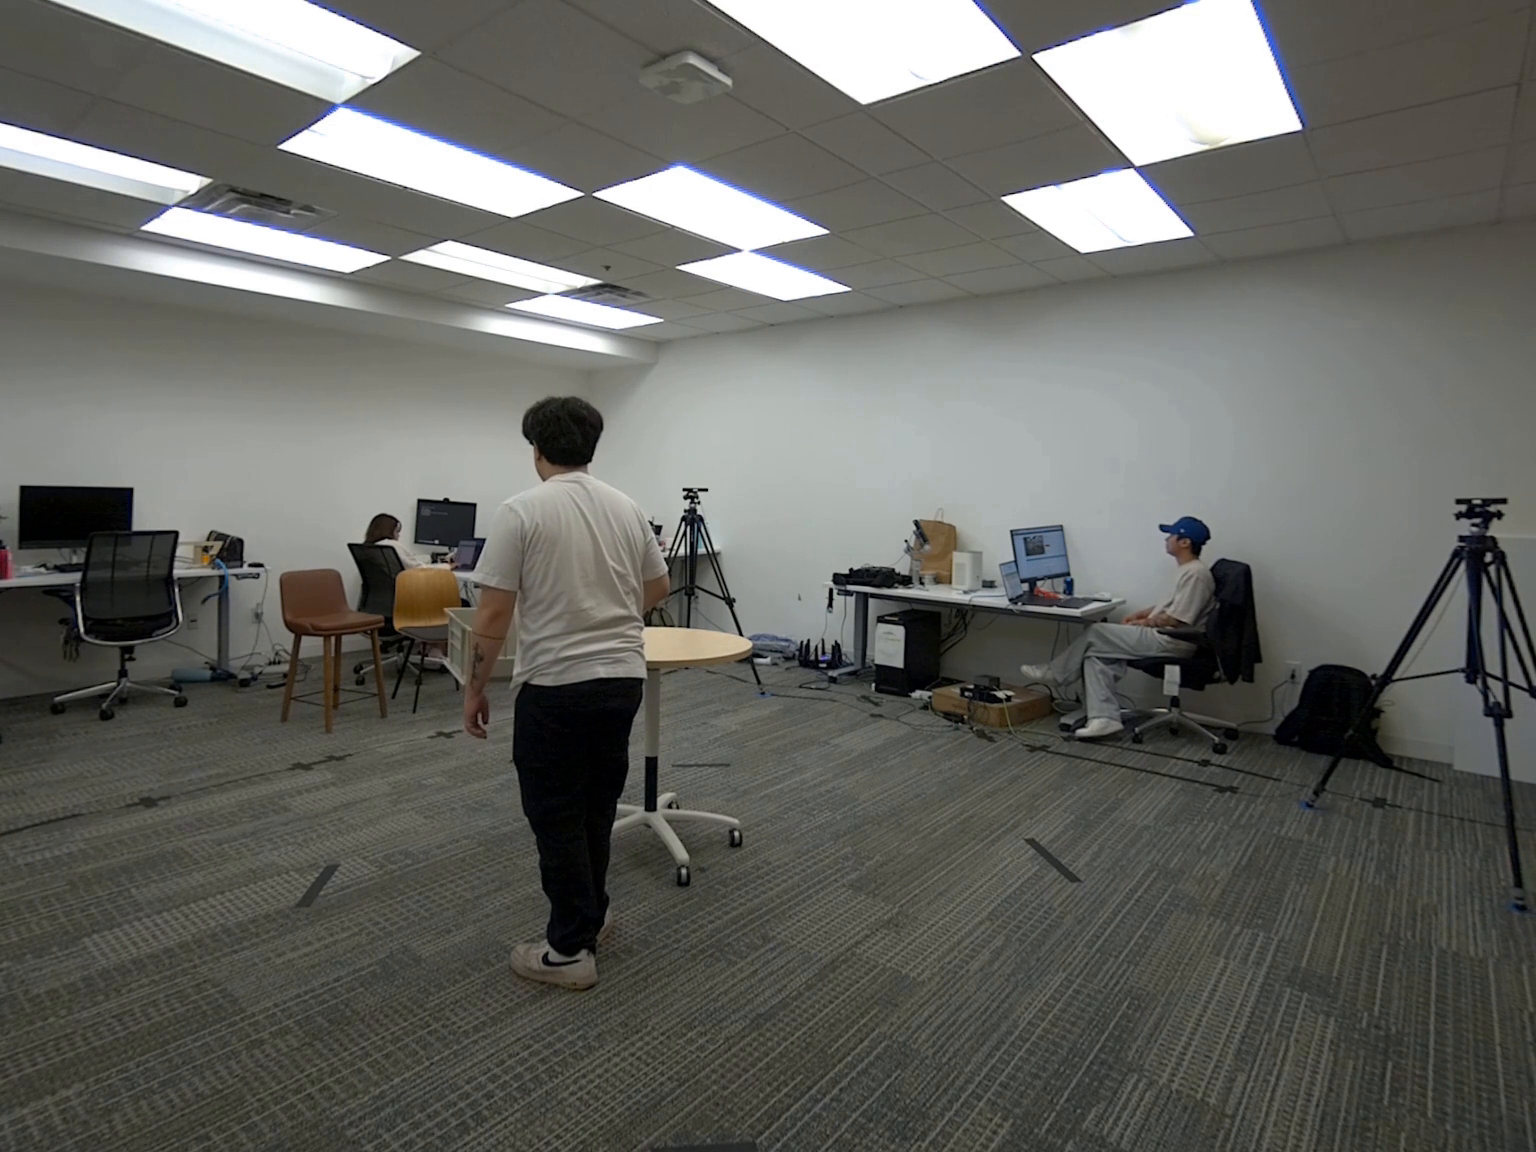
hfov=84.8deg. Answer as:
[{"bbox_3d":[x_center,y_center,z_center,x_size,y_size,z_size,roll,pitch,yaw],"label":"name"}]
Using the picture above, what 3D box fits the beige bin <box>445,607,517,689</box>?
[{"bbox_3d":[-0.806,0.217,2.730,0.411,0.188,0.389,0,6,-30],"label":"beige bin"}]
